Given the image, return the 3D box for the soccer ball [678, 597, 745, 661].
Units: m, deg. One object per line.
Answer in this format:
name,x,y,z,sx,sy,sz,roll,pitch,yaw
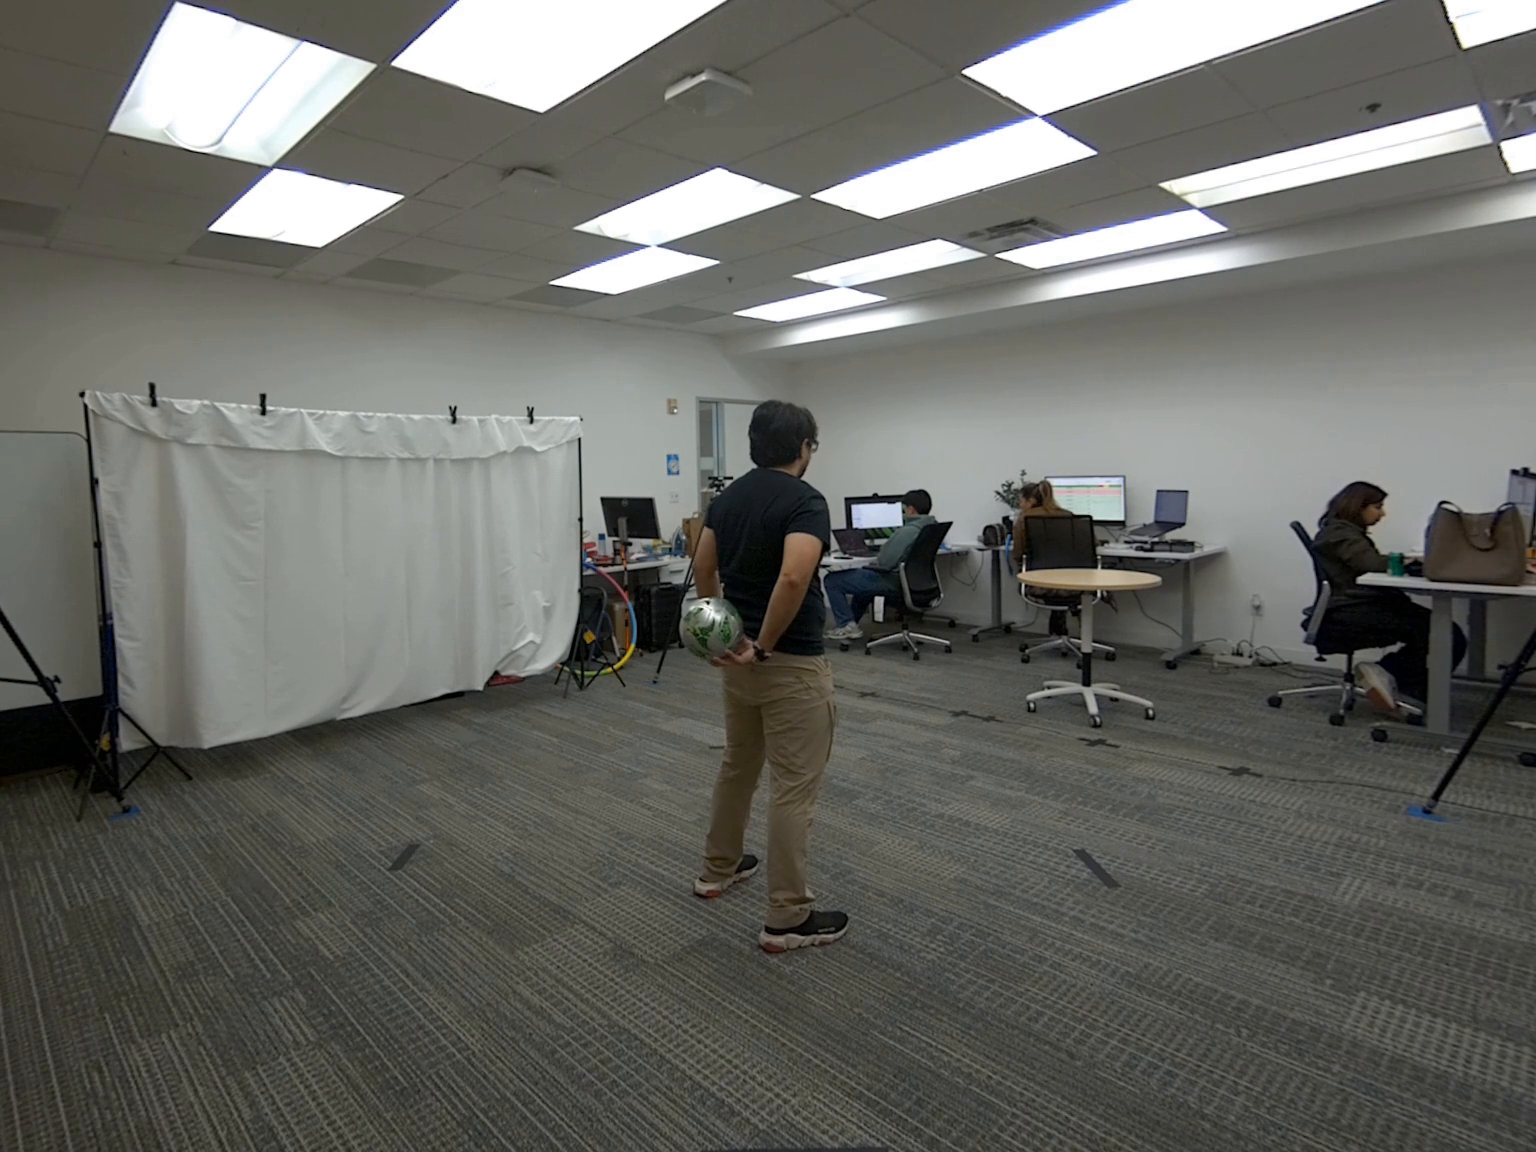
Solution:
soccer ball,-0.163,0.156,2.497,0.187,0.187,0.188,-1,5,-2
